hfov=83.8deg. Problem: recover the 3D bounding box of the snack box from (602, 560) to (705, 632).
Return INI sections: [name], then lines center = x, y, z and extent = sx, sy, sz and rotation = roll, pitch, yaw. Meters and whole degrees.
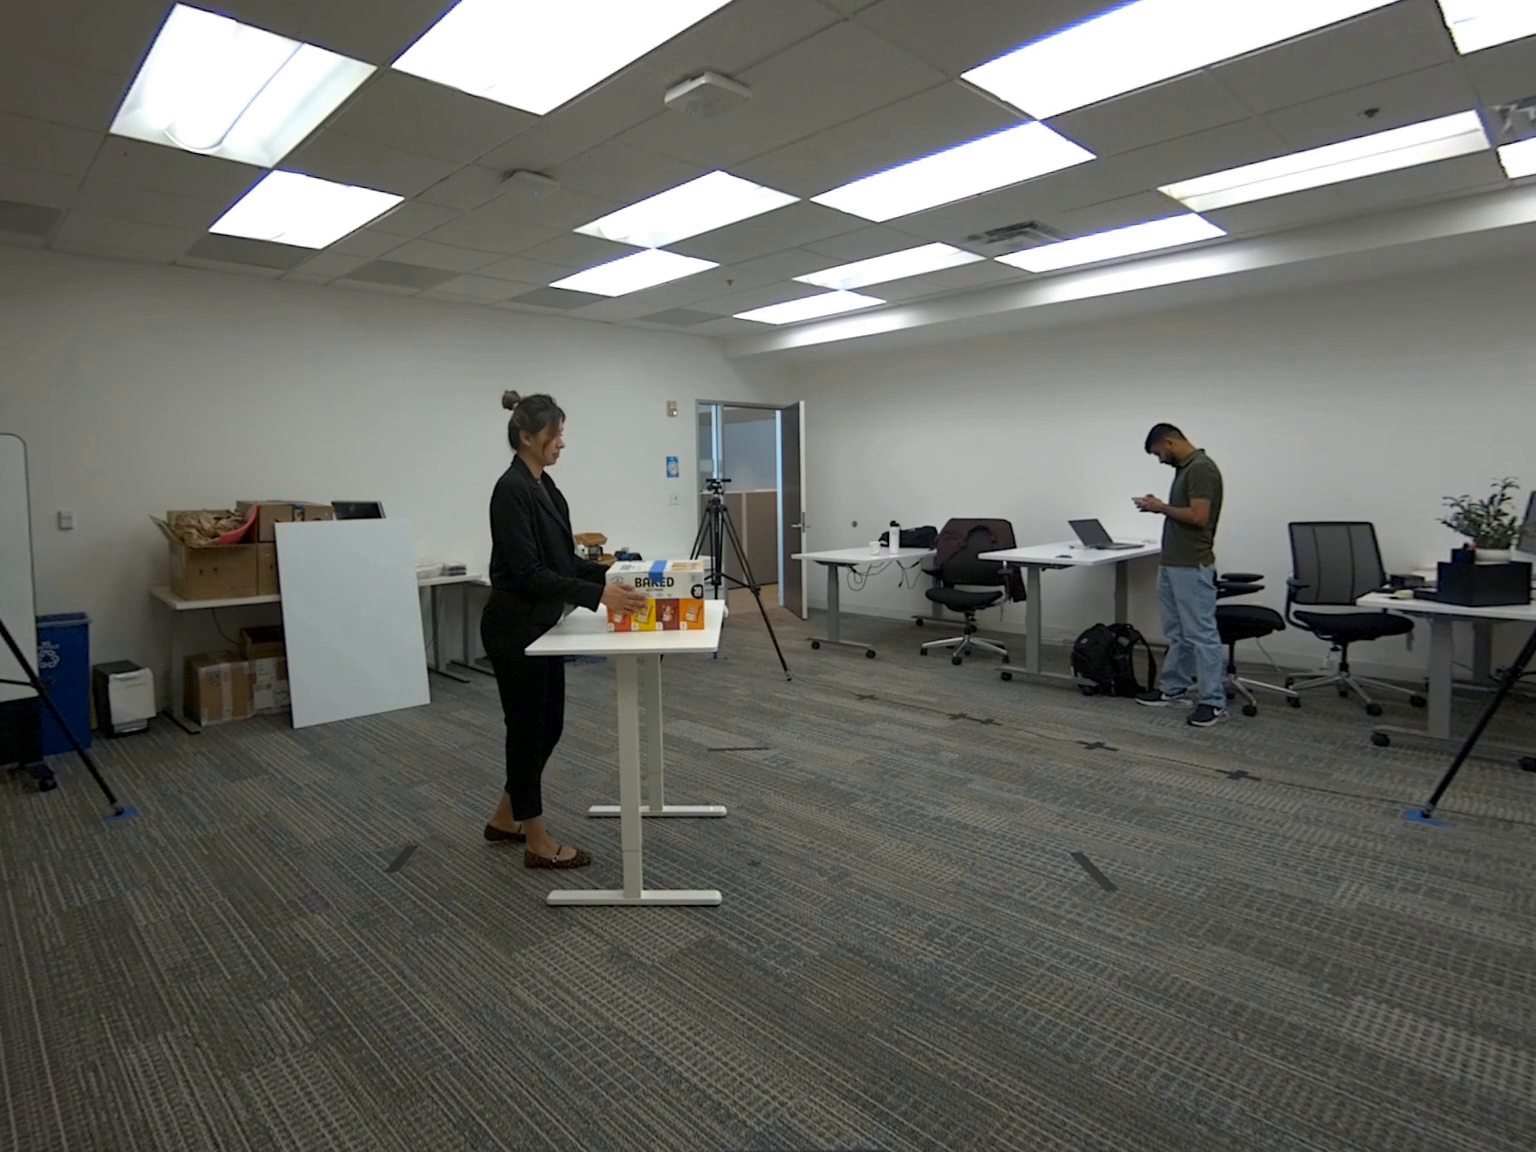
[snack box]
center = -0.403, 0.062, 3.137
extent = 0.340, 0.205, 0.408
rotation = -1, 6, -3
